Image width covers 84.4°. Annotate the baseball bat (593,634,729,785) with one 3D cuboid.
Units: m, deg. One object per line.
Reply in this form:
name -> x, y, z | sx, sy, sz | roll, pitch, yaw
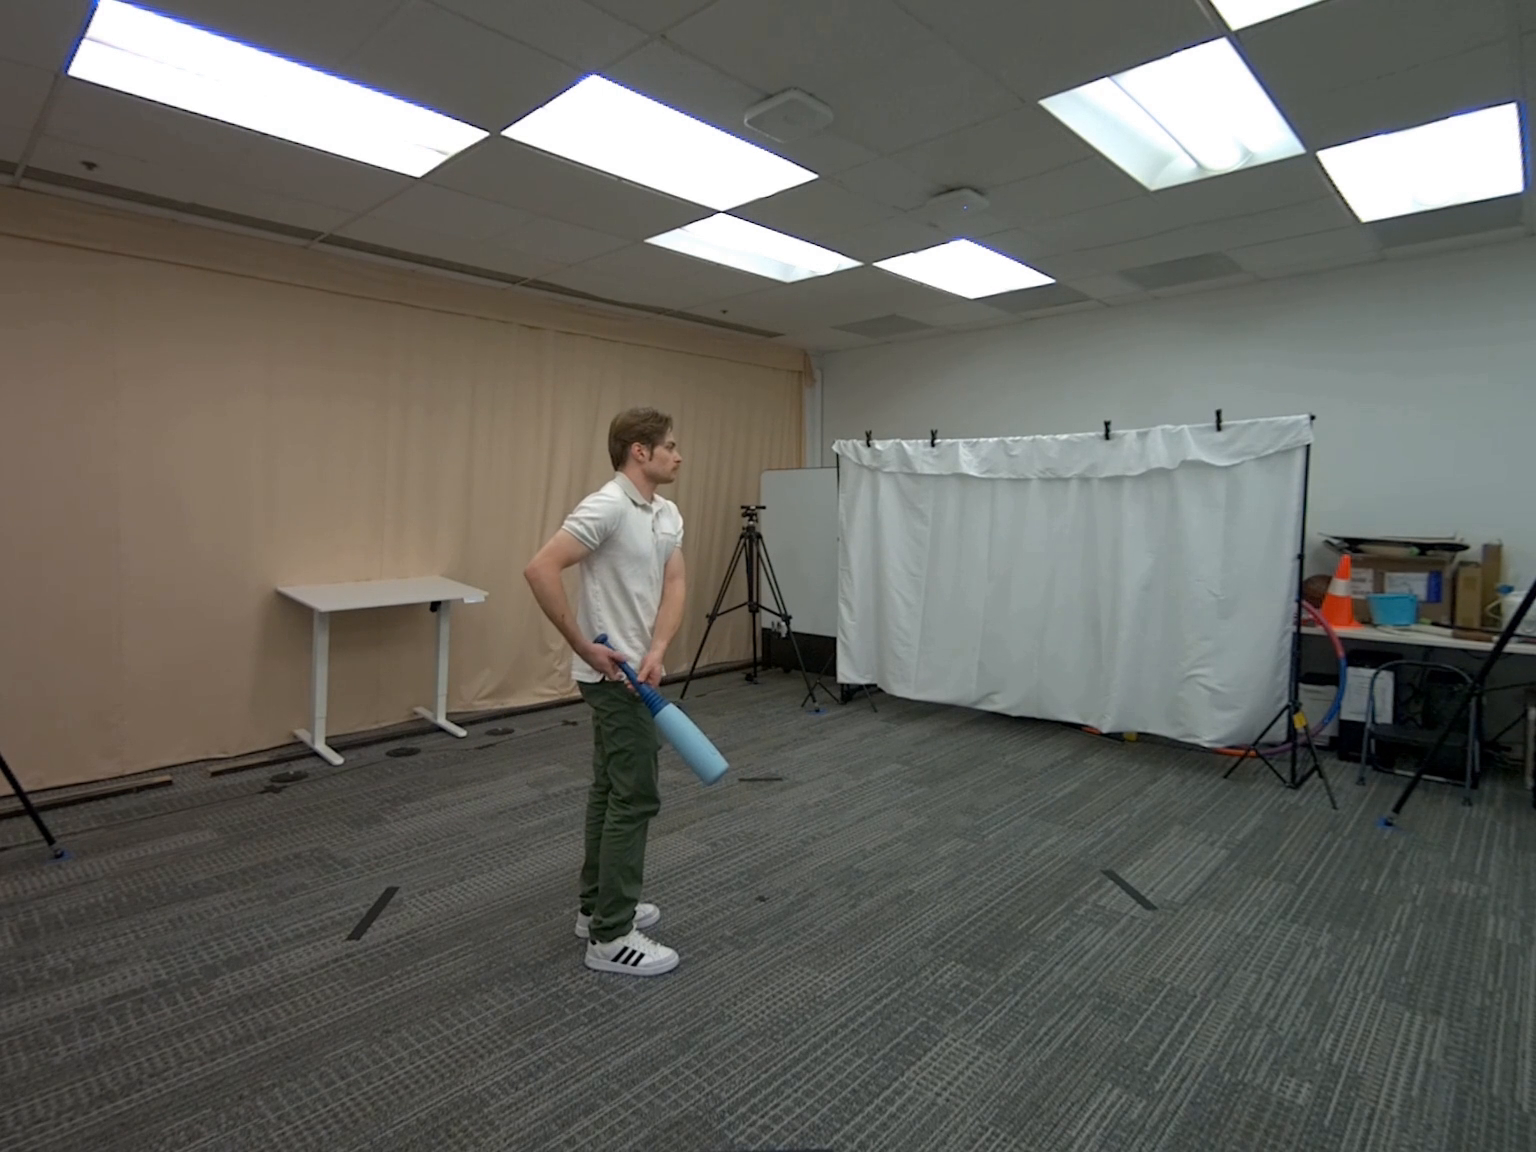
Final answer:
baseball bat -> -0.311, 0.383, 2.423 | 0.553, 0.089, 0.087 | 45, 18, 15
